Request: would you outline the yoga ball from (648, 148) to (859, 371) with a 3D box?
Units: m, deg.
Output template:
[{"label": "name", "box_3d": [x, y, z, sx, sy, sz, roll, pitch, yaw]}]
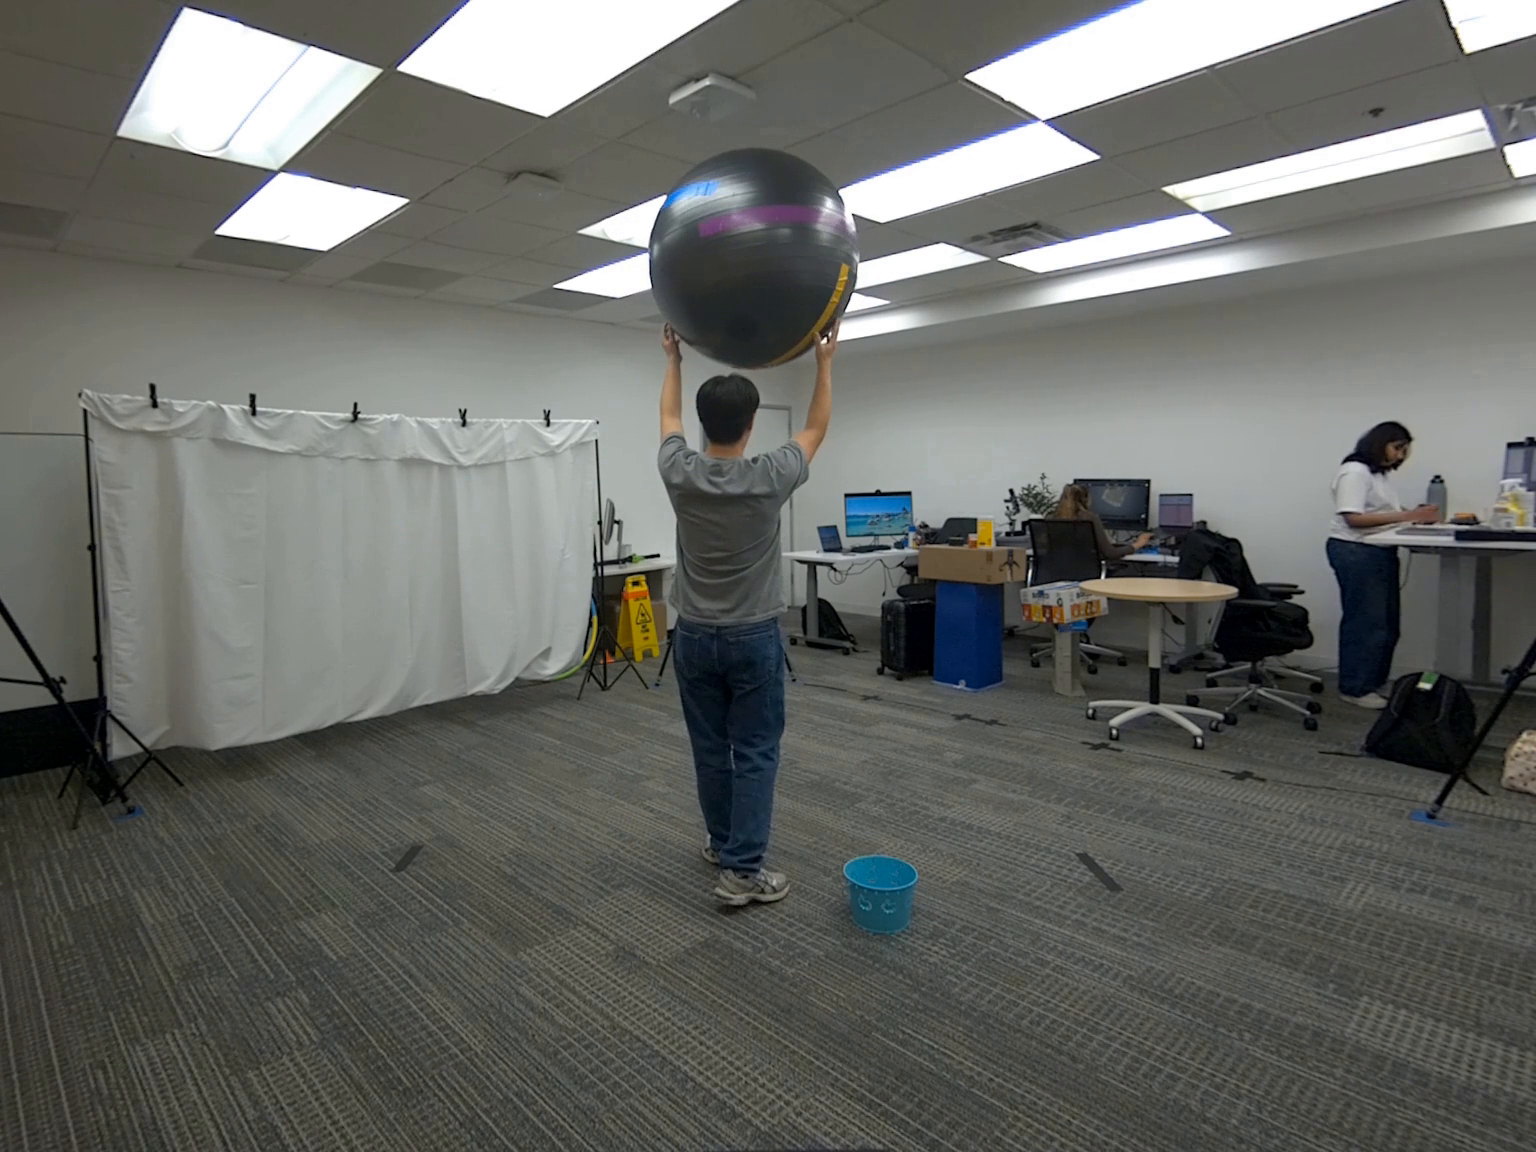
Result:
[{"label": "yoga ball", "box_3d": [-0.055, -1.127, 3.080, 0.757, 0.755, 0.762, -1, 5, -2]}]
